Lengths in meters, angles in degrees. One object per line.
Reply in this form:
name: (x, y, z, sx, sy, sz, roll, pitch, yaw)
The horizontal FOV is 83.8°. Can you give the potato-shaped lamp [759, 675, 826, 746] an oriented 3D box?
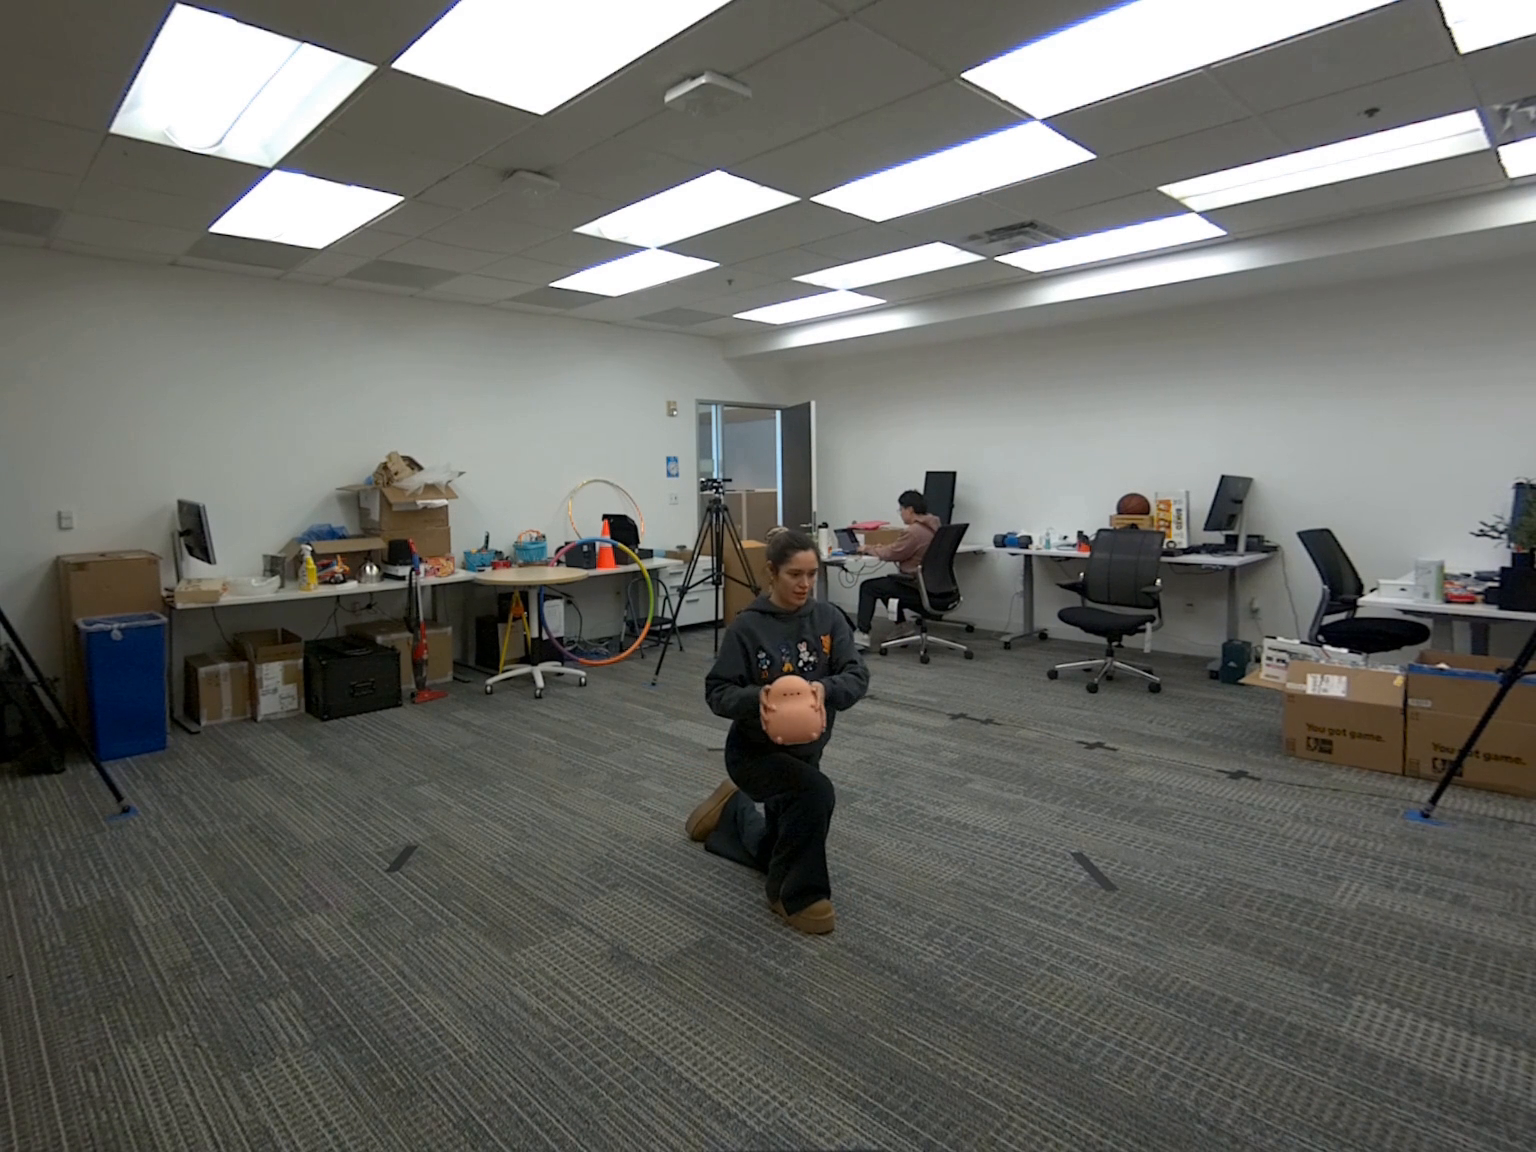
potato-shaped lamp: (0.071, 0.401, 2.538, 0.165, 0.201, 0.168, -10, -13, 3)
